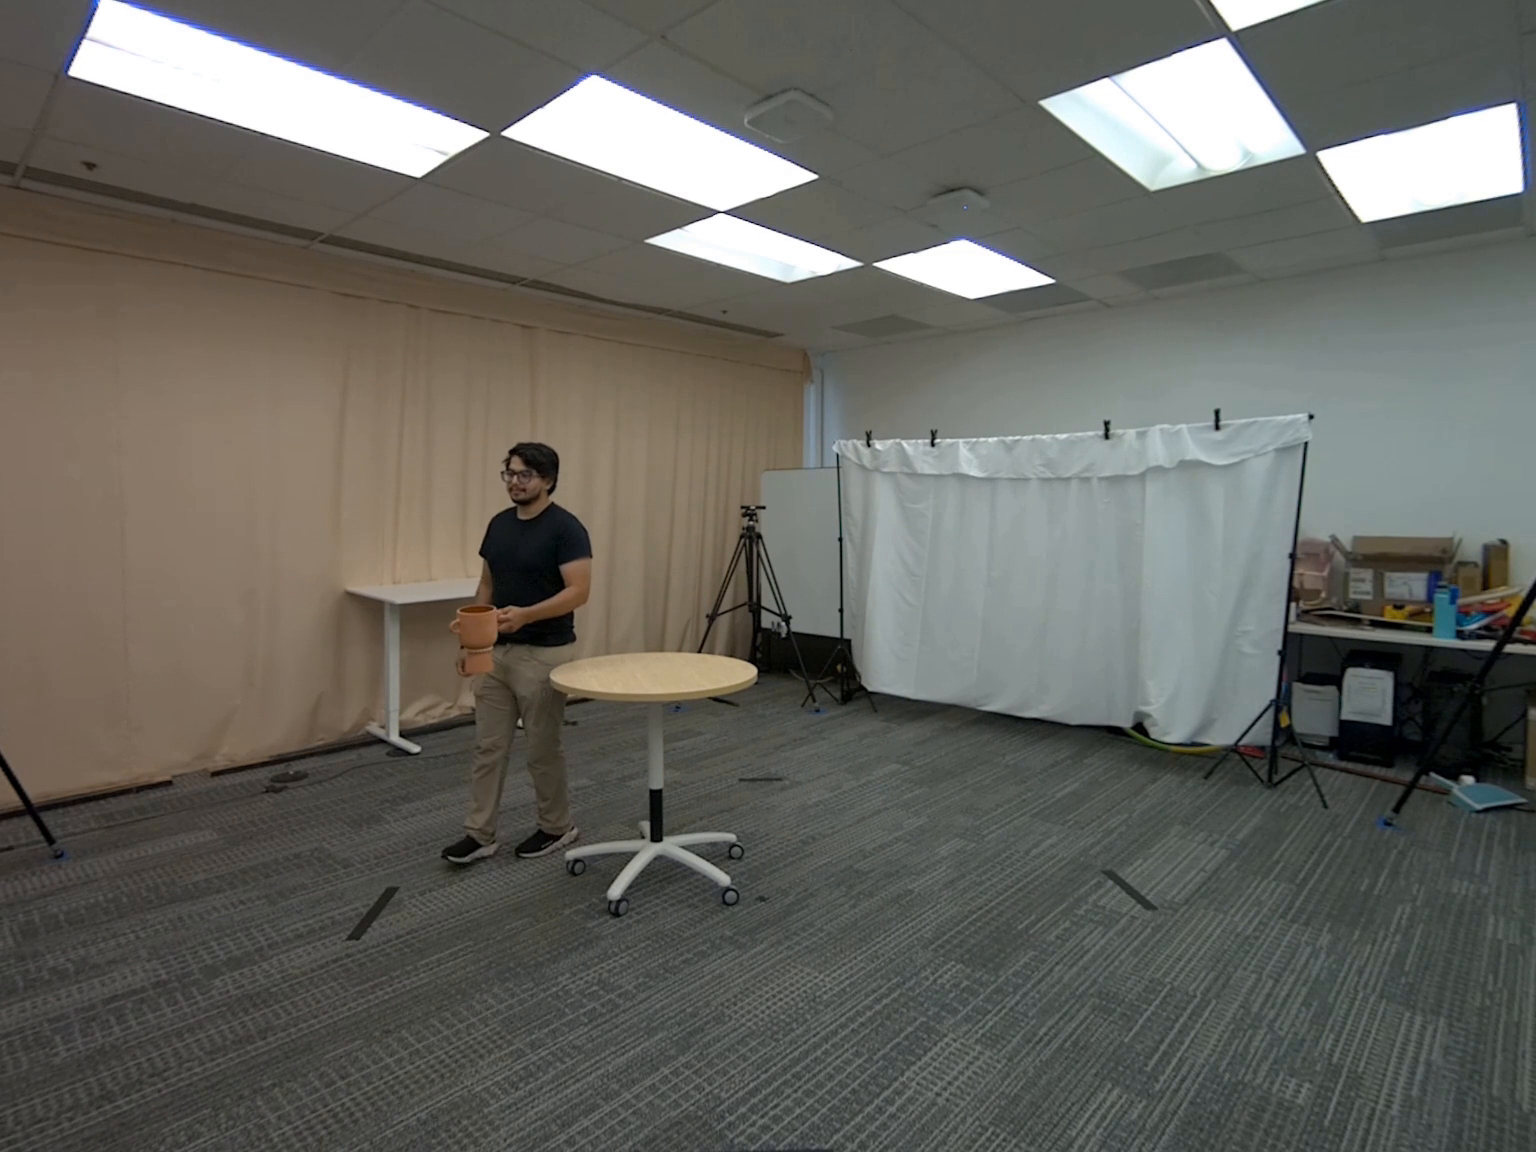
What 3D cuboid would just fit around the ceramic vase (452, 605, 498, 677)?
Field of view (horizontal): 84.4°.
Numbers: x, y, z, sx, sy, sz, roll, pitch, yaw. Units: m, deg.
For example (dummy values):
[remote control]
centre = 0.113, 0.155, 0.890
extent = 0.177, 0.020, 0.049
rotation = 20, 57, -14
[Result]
[ceramic vase]
centre = -1.018, 0.226, 2.942
extent = 0.158, 0.218, 0.136
rotation = -4, 11, -2
